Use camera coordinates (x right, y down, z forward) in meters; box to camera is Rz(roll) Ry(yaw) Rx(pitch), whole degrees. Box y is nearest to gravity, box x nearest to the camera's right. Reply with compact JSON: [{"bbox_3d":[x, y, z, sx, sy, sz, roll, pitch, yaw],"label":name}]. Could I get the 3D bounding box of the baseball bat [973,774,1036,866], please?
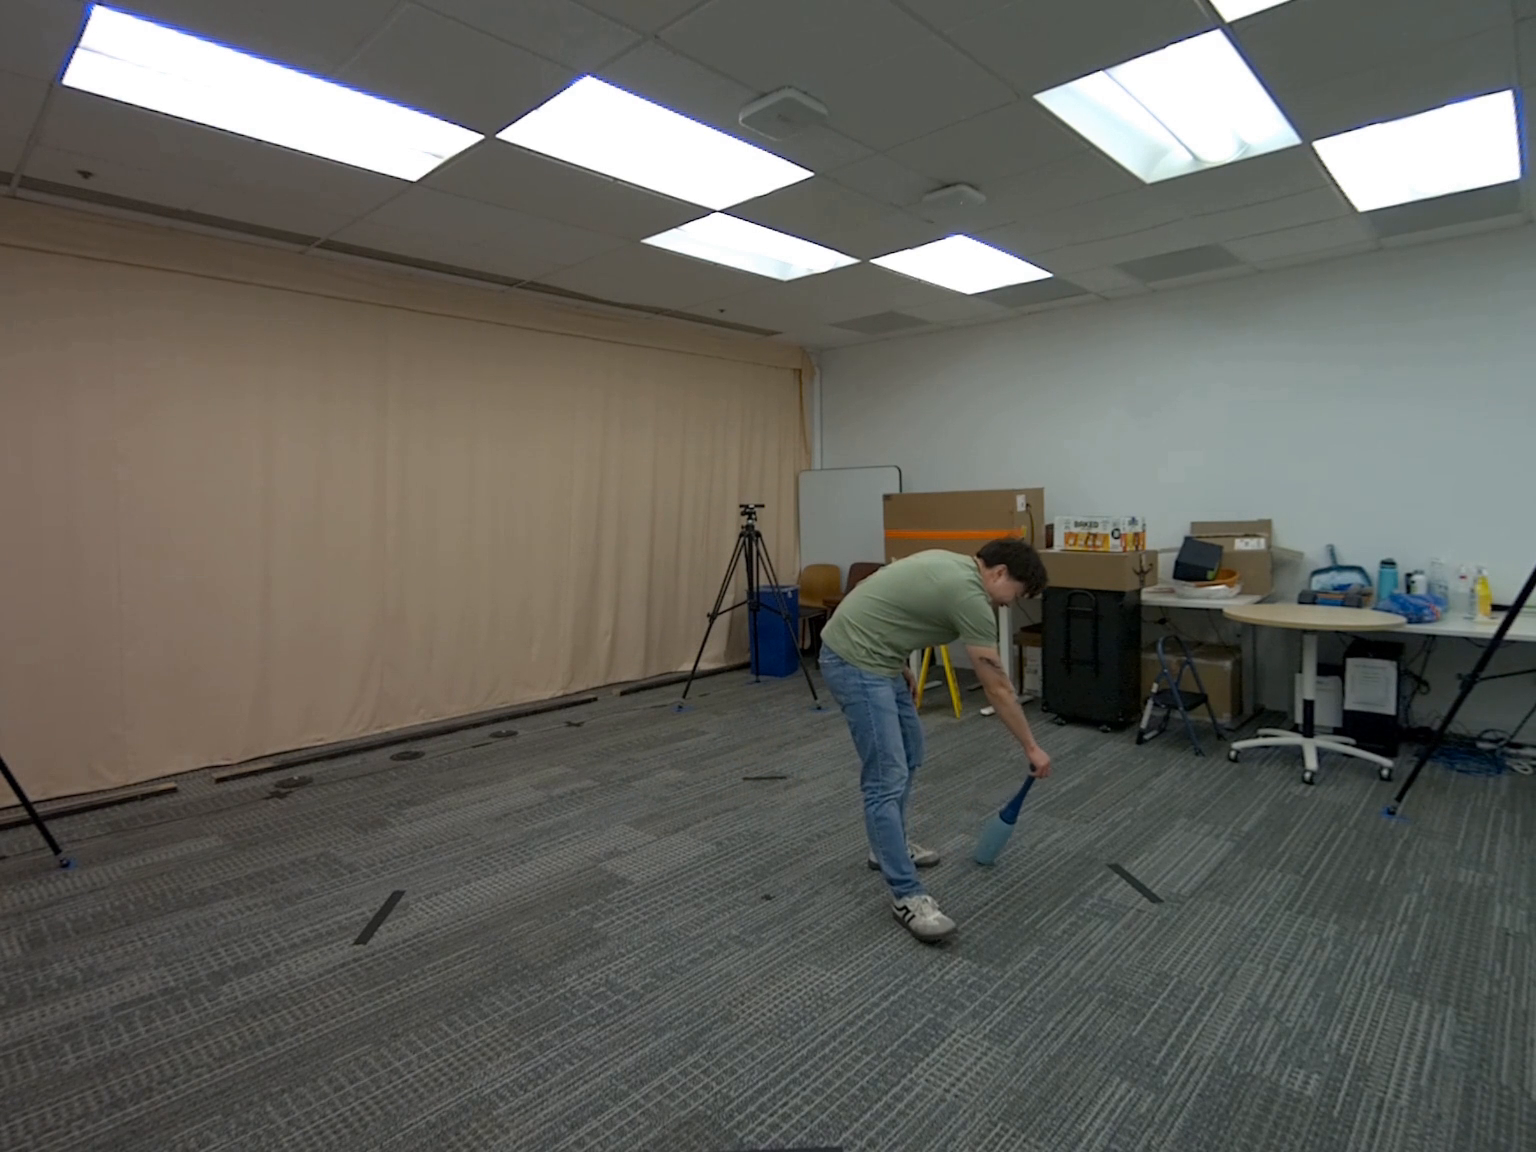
[{"bbox_3d":[0.890,0.878,3.088,0.088,0.538,0.091,9,37,-9],"label":"baseball bat"}]
